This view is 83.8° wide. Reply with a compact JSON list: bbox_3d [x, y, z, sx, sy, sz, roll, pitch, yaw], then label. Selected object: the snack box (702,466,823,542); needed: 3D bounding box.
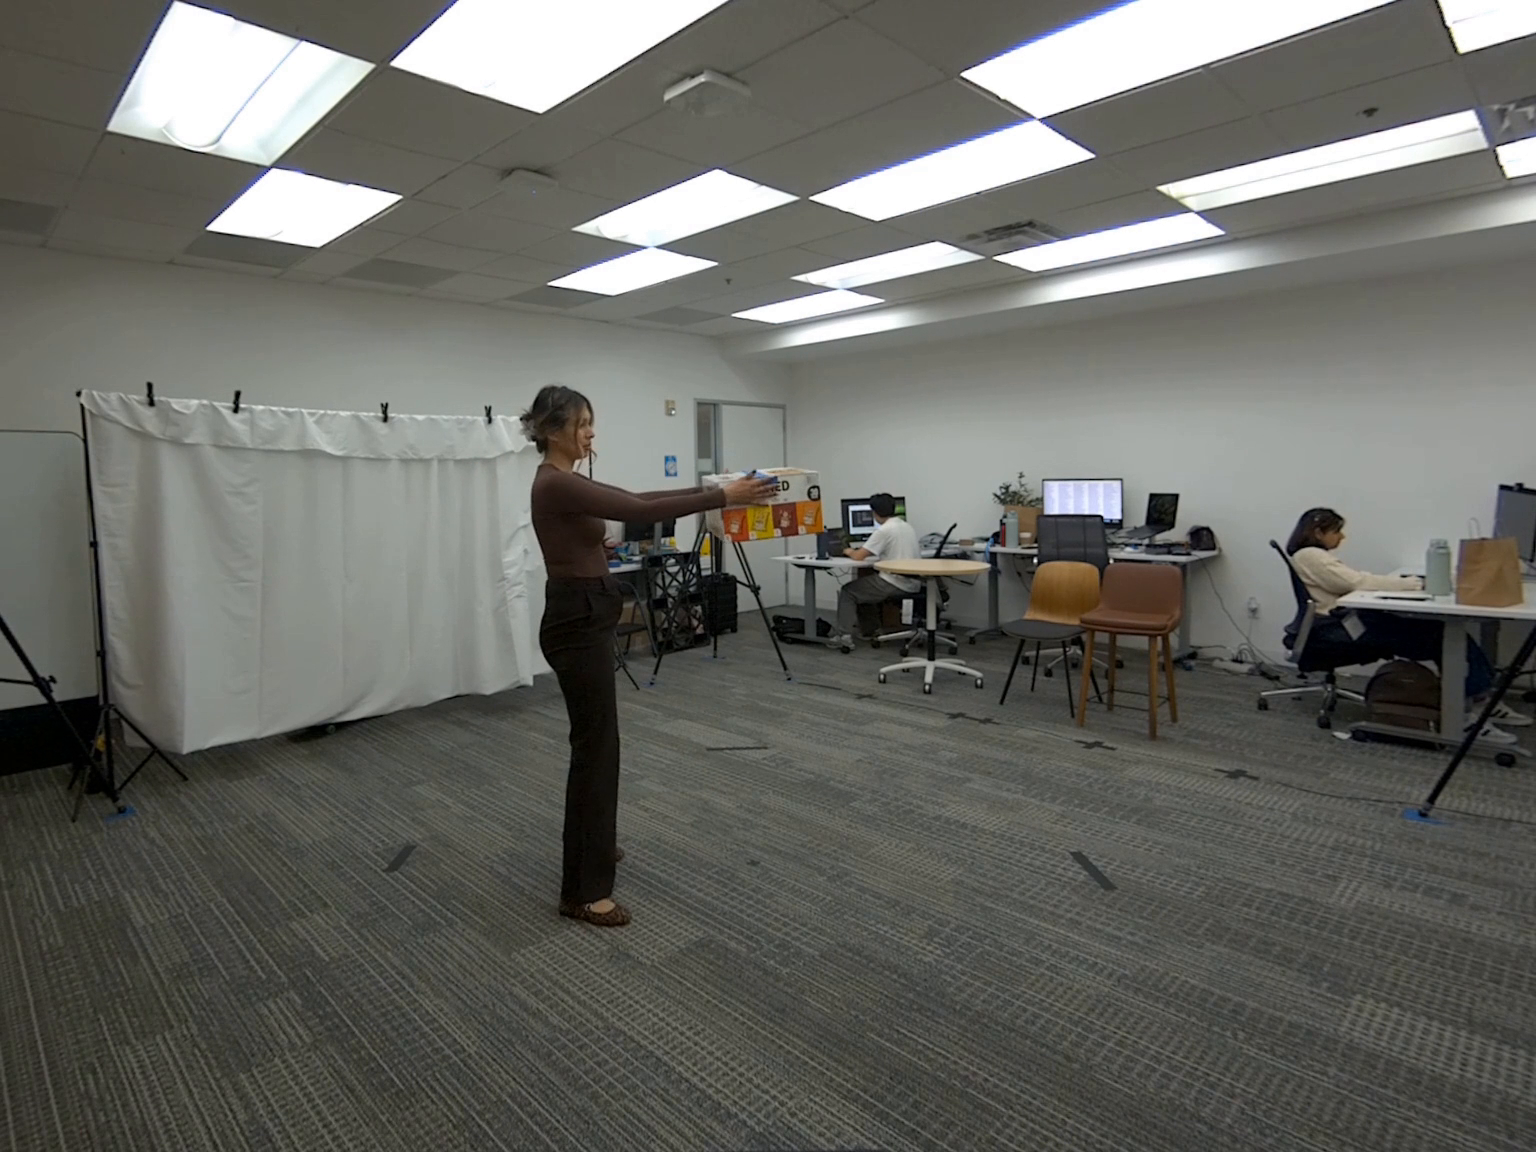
[{"bbox_3d":[-0.034,-0.263,3.000,0.338,0.204,0.411,-7,8,-8],"label":"snack box"}]
